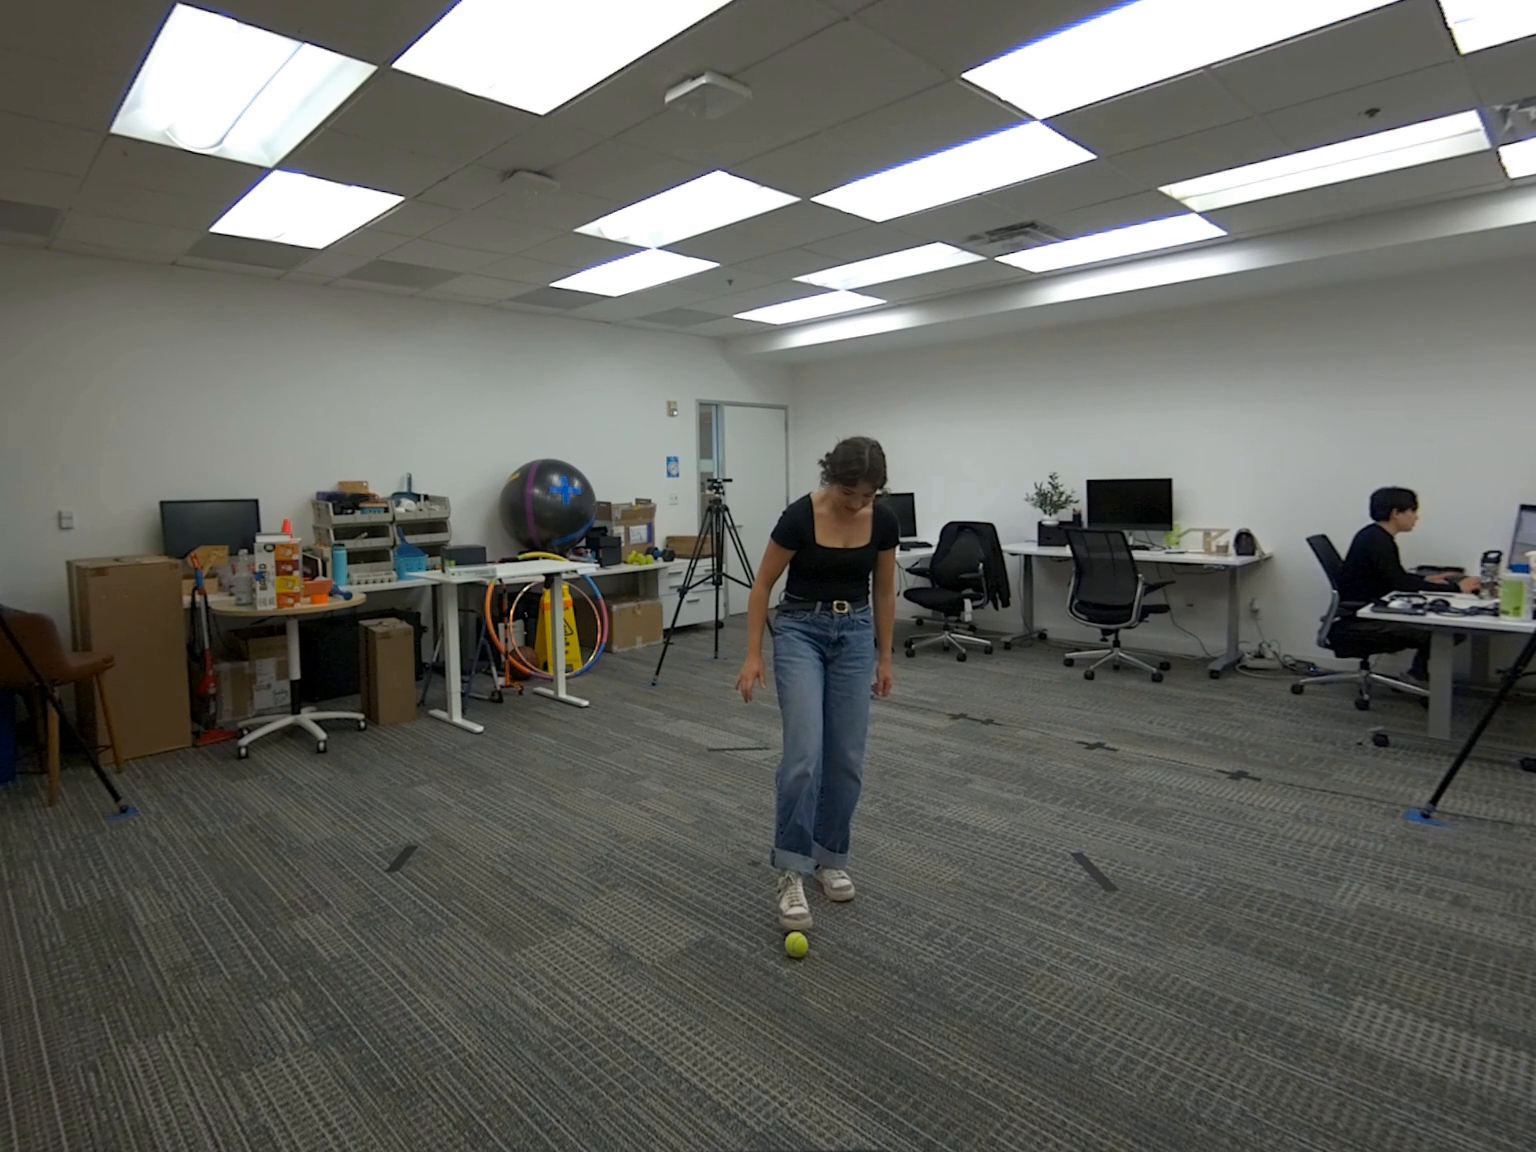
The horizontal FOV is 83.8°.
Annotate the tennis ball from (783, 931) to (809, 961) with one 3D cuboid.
[{"bbox_3d":[0.080,1.072,2.501,0.066,0.066,0.067,-1,5,-2],"label":"tennis ball"}]
